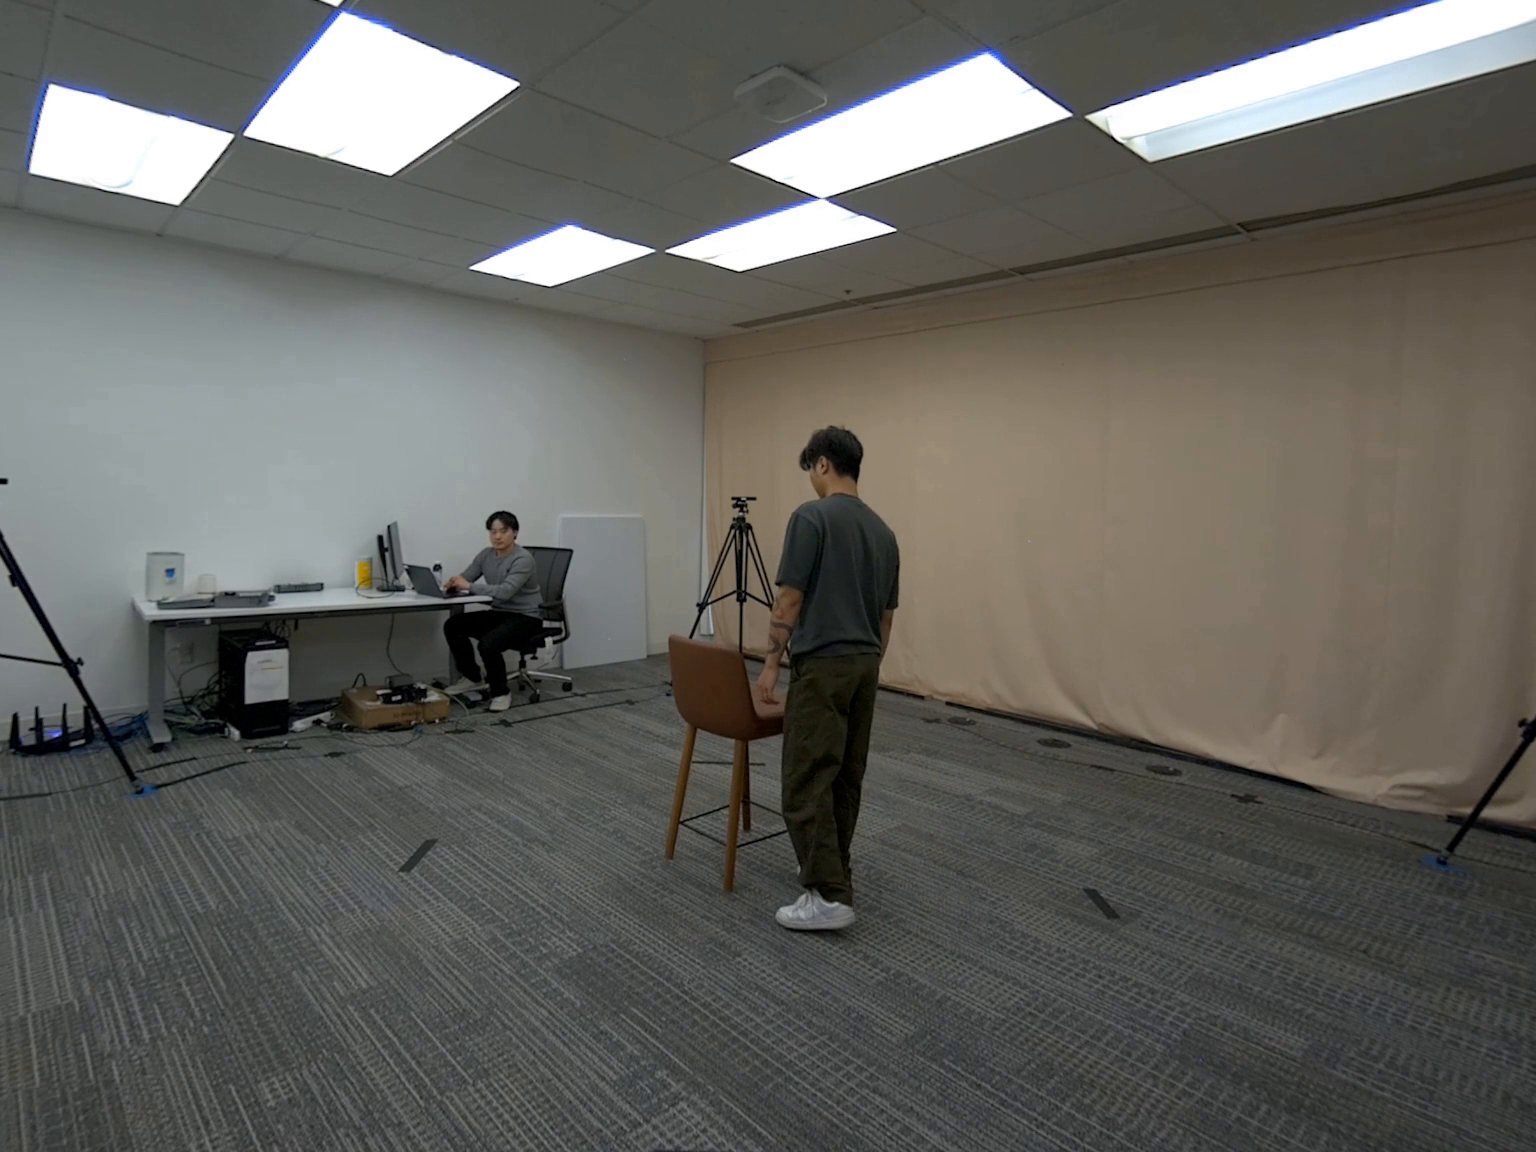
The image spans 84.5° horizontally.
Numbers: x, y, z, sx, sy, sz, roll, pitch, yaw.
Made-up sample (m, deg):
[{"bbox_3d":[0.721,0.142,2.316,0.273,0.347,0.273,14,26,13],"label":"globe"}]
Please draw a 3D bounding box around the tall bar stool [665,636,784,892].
[{"bbox_3d":[-0.113,0.661,3.234,0.457,0.887,0.468,-4,5,-43],"label":"tall bar stool"}]
